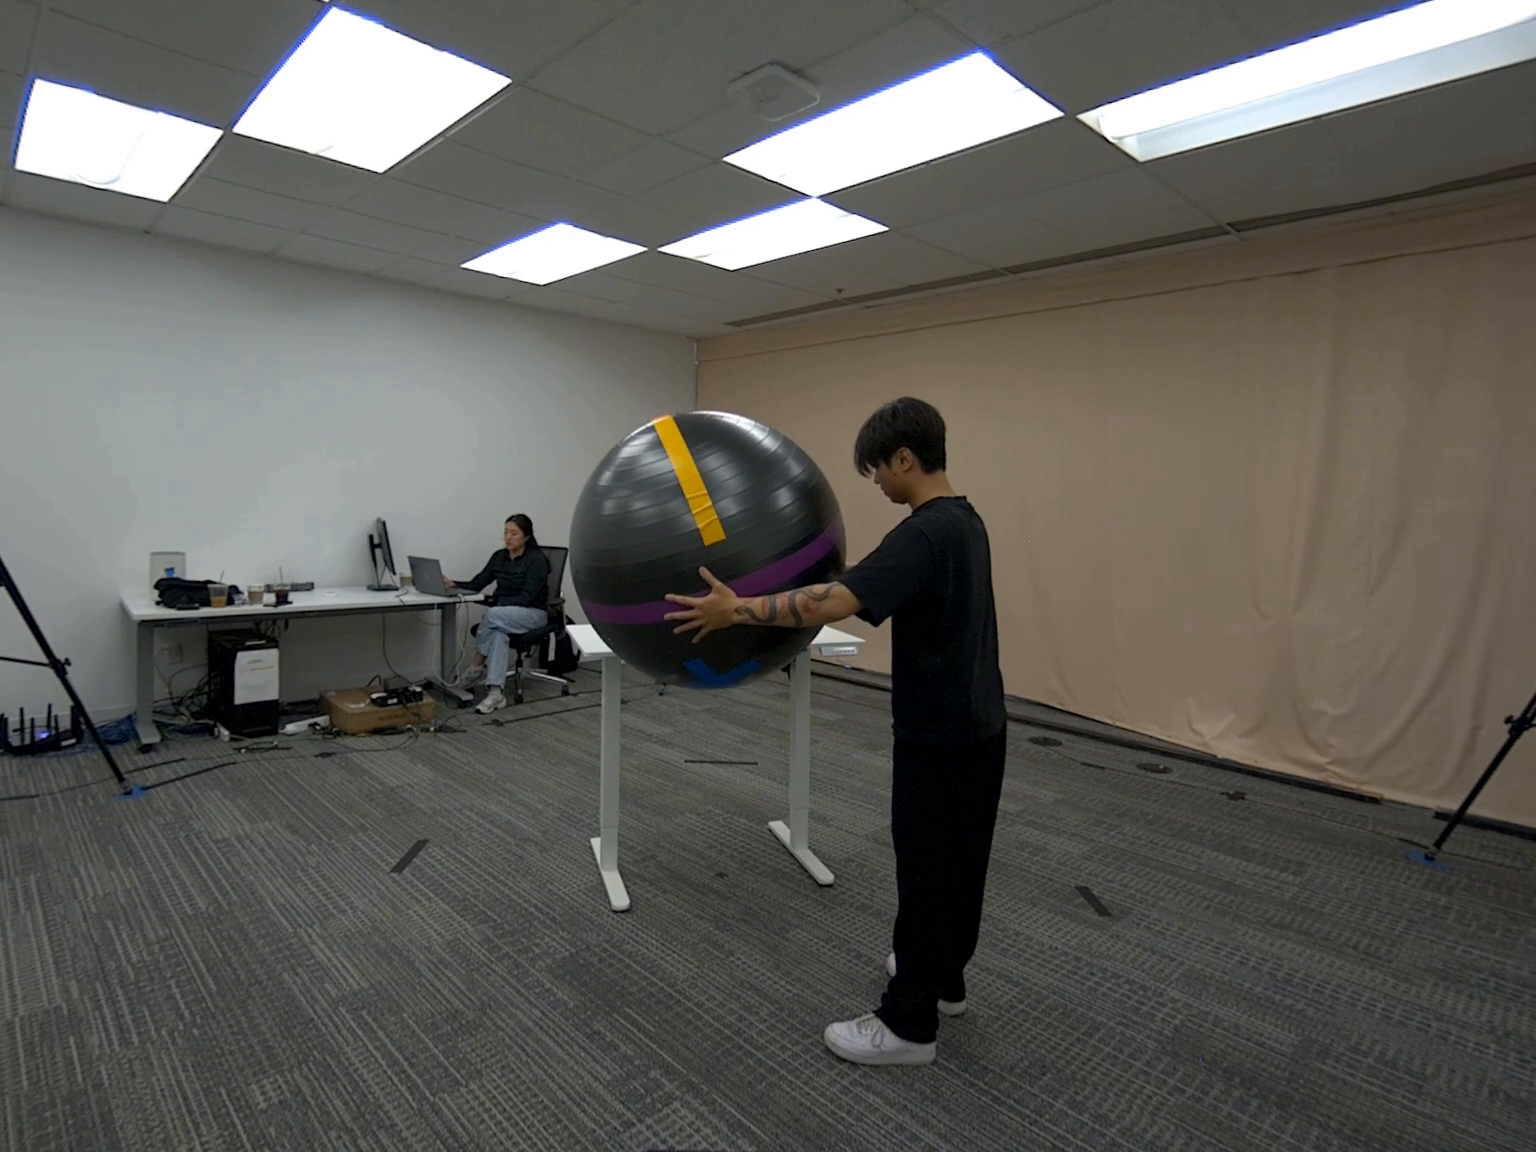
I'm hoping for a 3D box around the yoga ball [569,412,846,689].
[{"bbox_3d":[-0.172,-0.064,2.319,0.757,0.756,0.761,1,4,-1],"label":"yoga ball"}]
